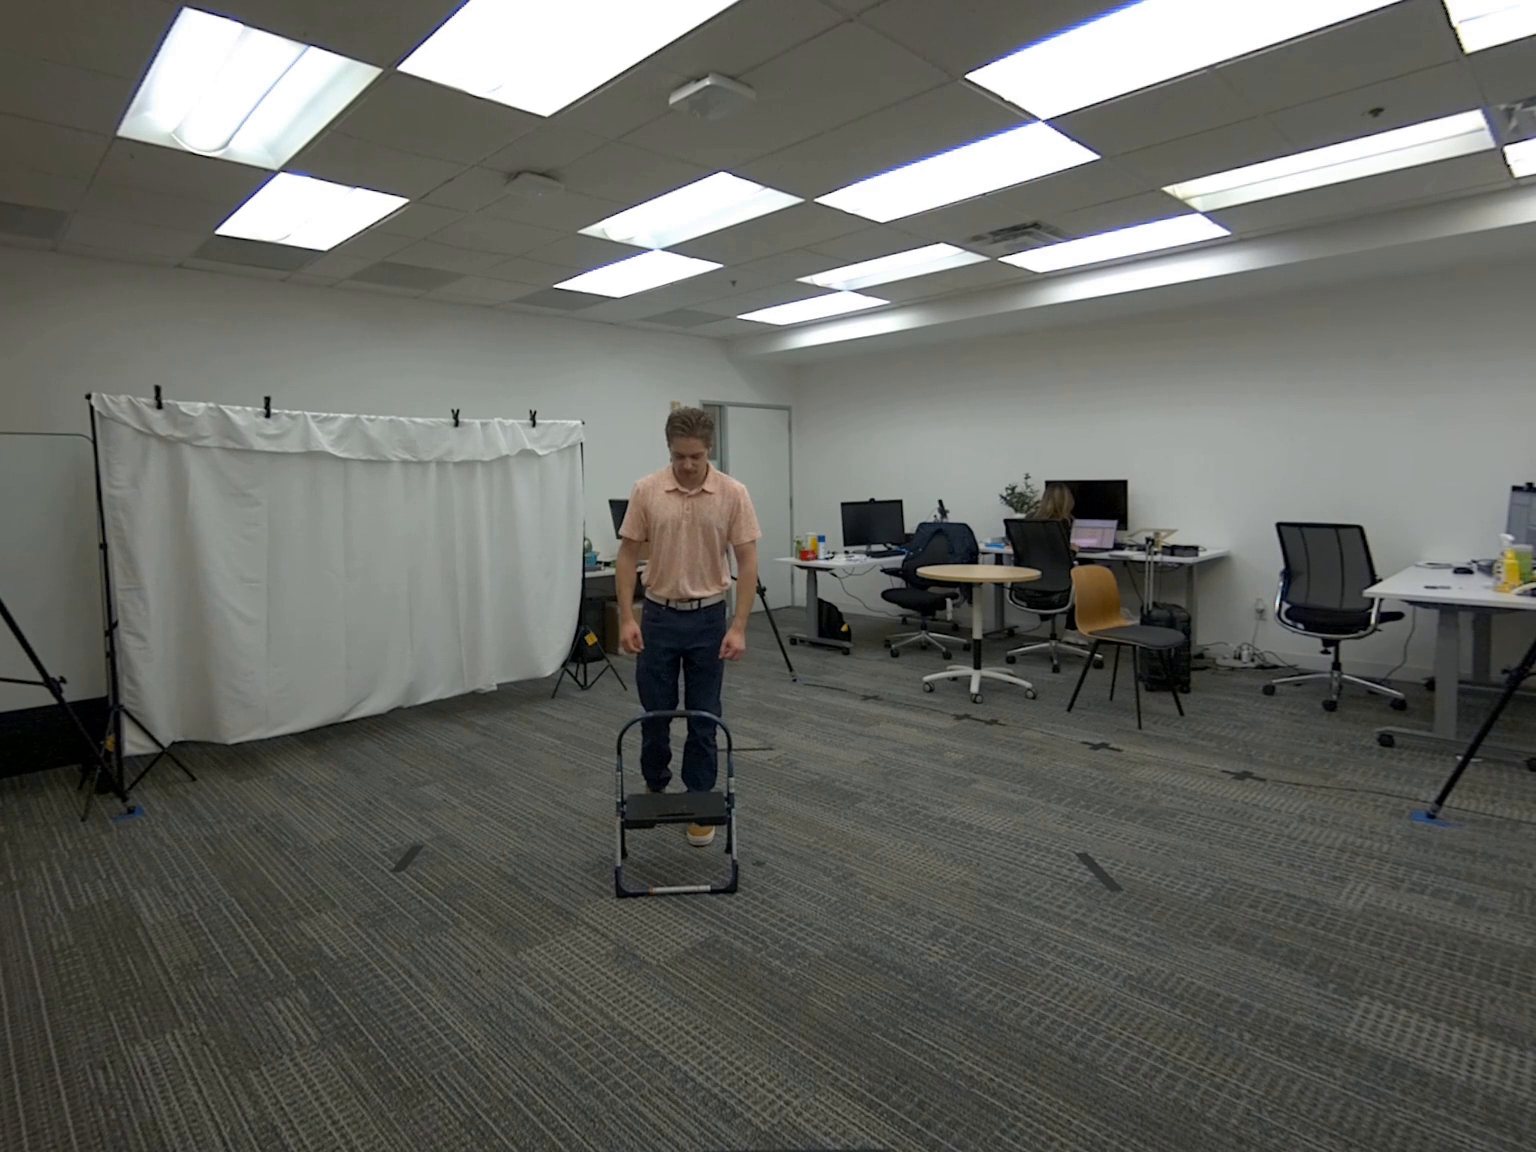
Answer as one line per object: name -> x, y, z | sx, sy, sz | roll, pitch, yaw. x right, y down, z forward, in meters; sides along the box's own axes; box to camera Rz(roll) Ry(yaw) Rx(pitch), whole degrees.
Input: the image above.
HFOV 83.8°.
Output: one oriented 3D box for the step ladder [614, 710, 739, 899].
step ladder -> -0.332, 0.762, 3.028 | 0.428, 0.603, 0.353 | -2, 5, -6
